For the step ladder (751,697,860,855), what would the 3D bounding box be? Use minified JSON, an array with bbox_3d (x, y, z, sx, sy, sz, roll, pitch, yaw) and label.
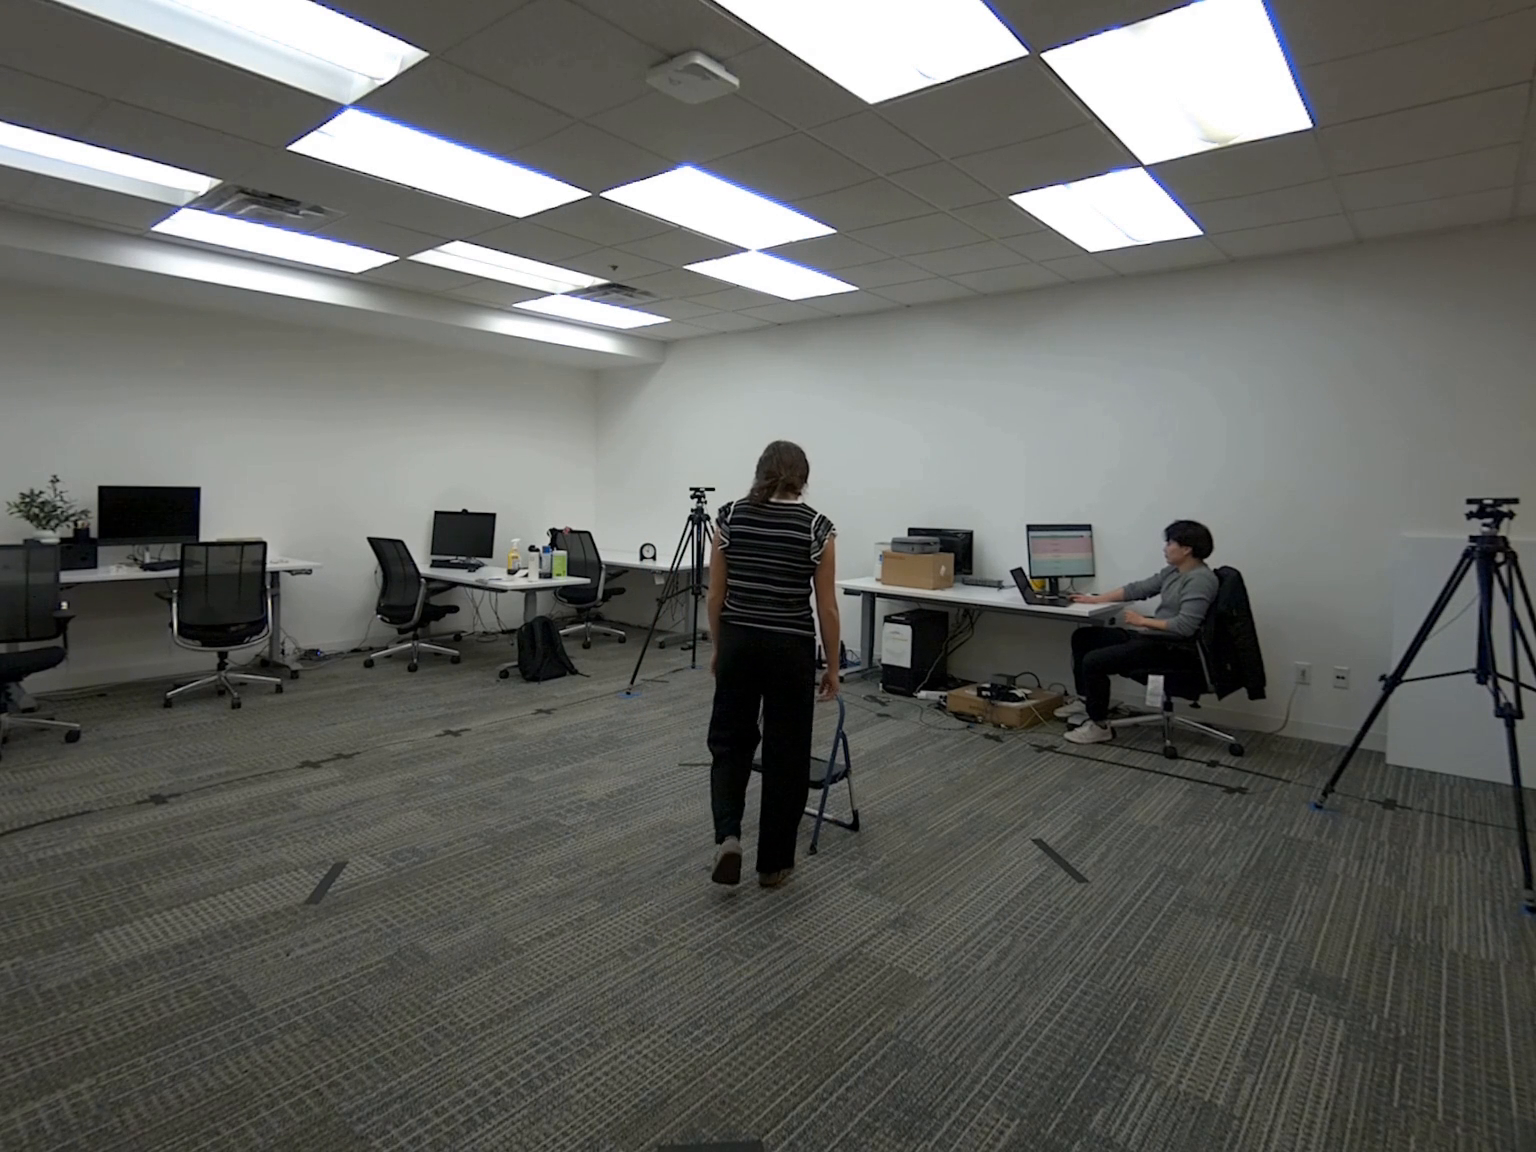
[{"bbox_3d":[0.113,0.732,3.494,0.445,0.604,0.339,4,5,40],"label":"step ladder"}]
